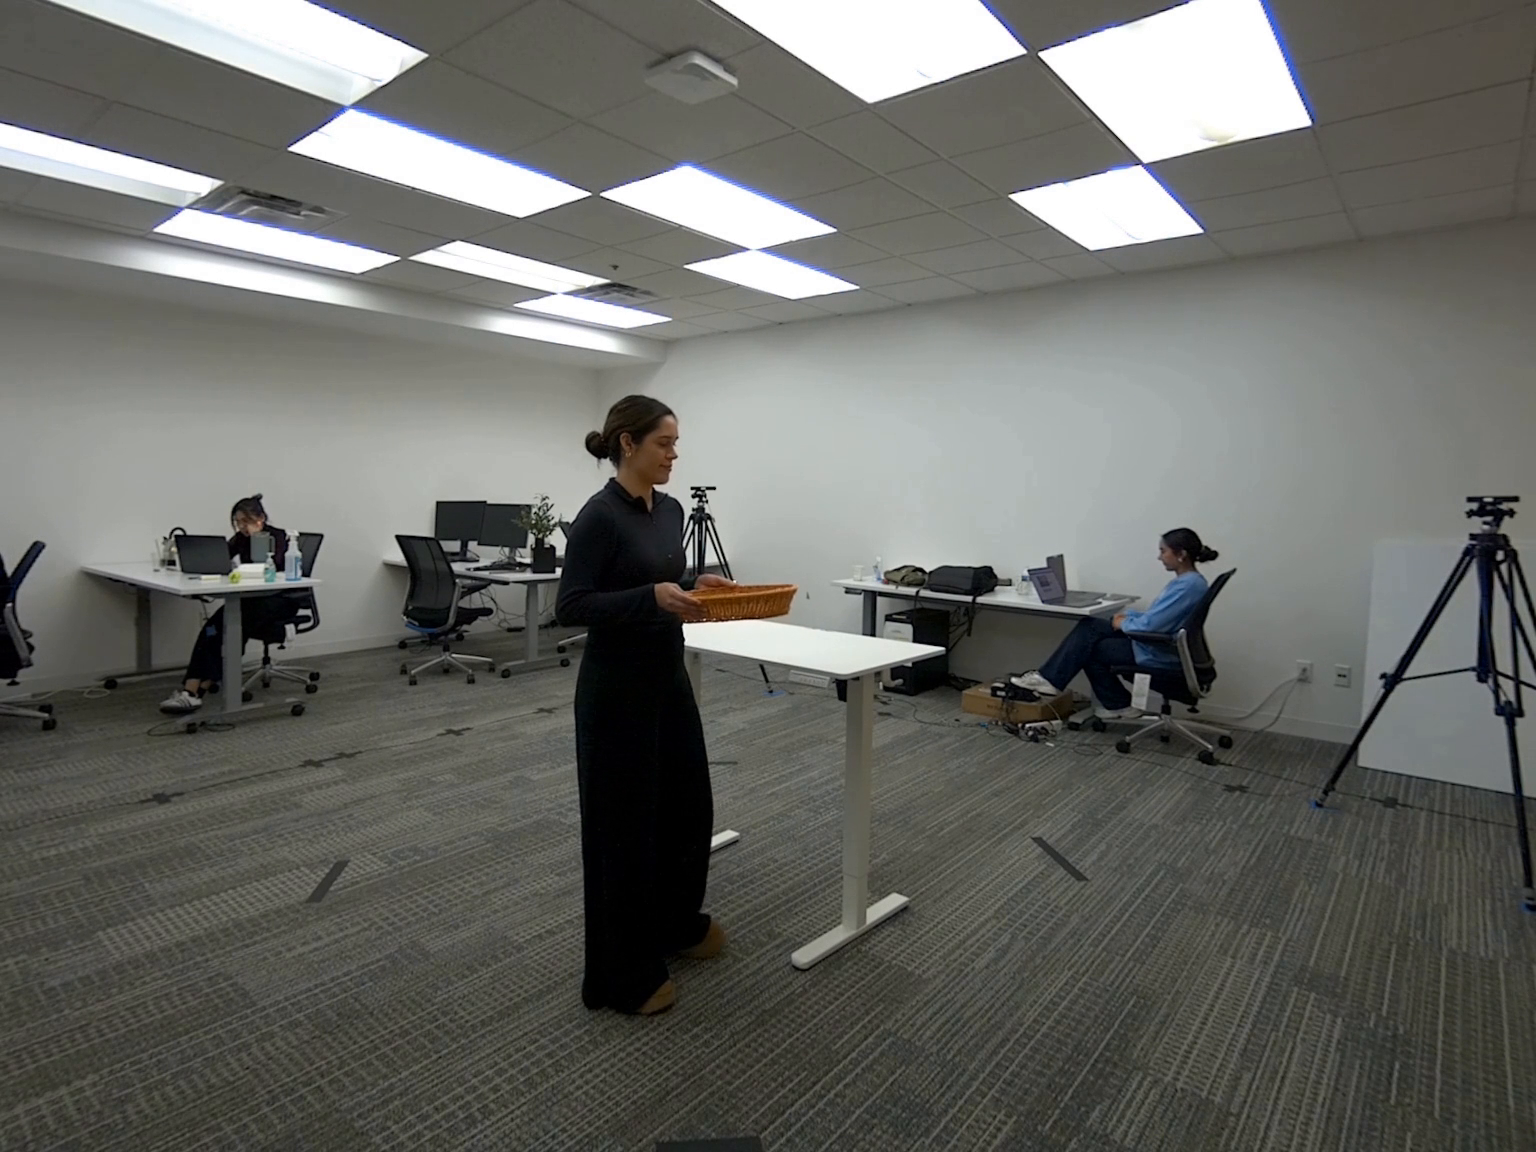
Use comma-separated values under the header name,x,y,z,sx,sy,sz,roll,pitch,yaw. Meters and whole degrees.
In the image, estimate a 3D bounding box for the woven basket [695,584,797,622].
name,x,y,z,sx,sy,sz,roll,pitch,yaw
woven basket,-0.119,0.079,2.144,0.351,0.073,0.252,-3,3,0
